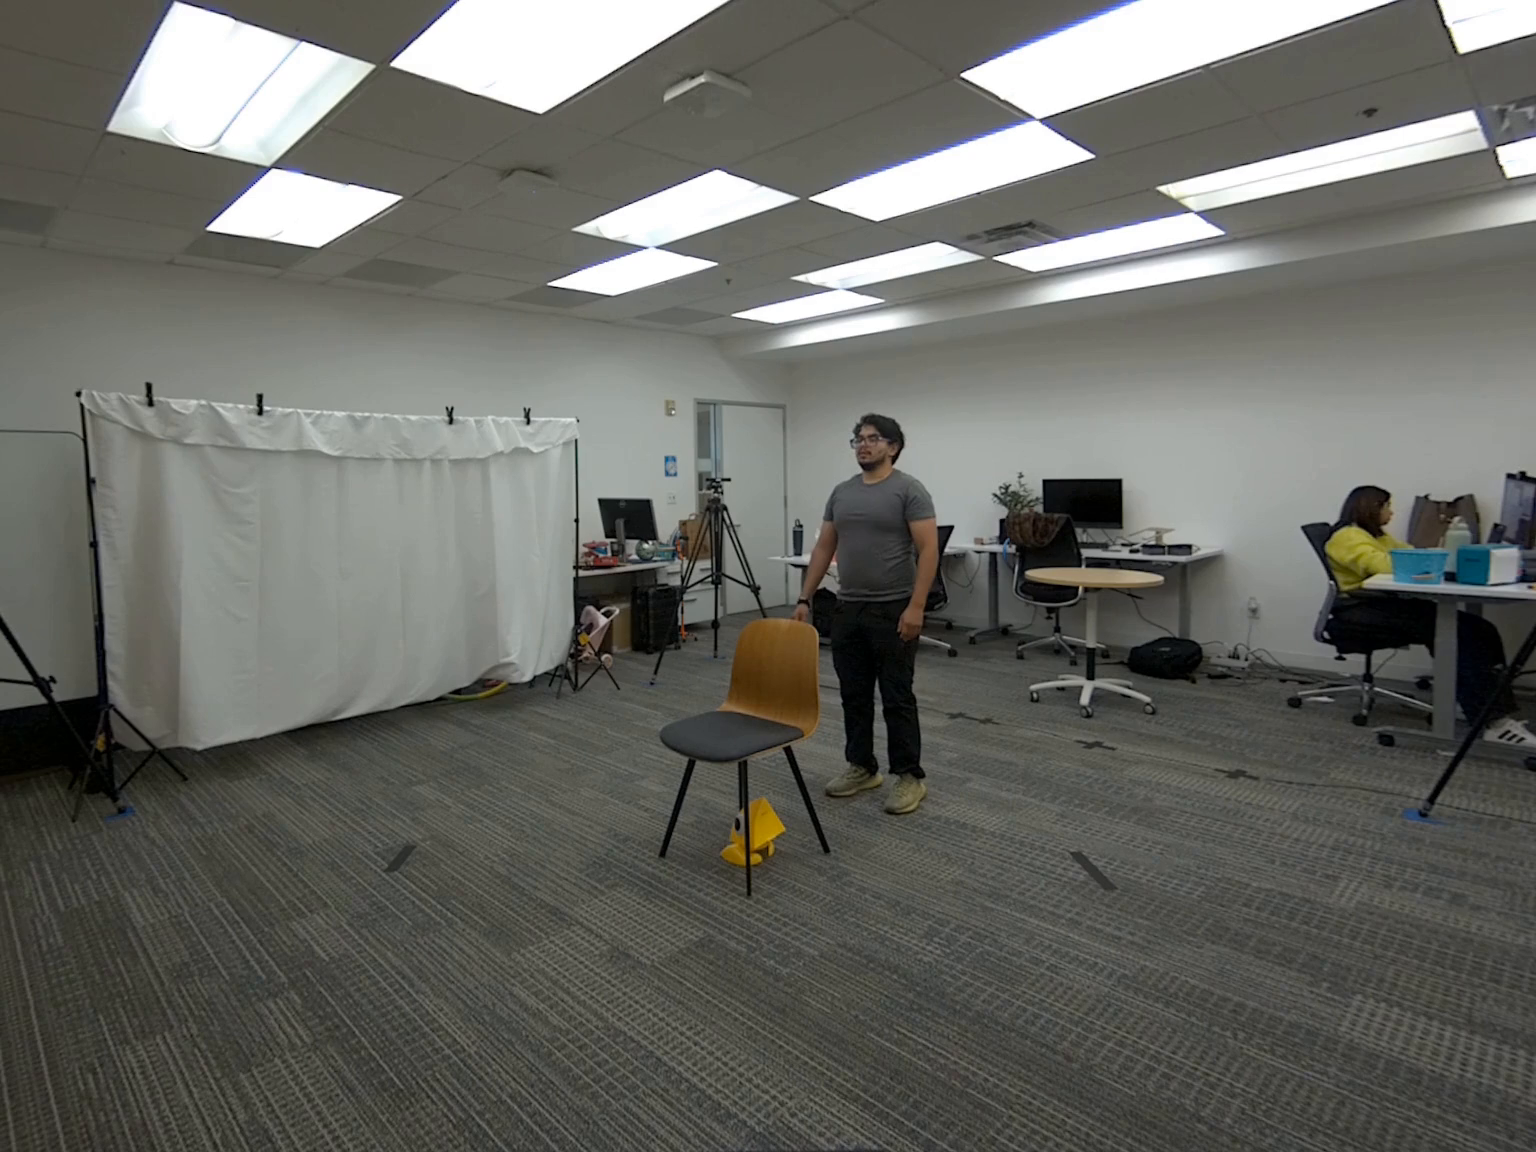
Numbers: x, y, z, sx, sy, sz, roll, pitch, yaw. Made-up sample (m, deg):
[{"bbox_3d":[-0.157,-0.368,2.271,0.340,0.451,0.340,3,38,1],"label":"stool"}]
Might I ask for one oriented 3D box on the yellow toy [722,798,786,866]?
[{"bbox_3d":[-0.059,0.920,3.174,0.199,0.230,0.200,3,6,35],"label":"yellow toy"}]
